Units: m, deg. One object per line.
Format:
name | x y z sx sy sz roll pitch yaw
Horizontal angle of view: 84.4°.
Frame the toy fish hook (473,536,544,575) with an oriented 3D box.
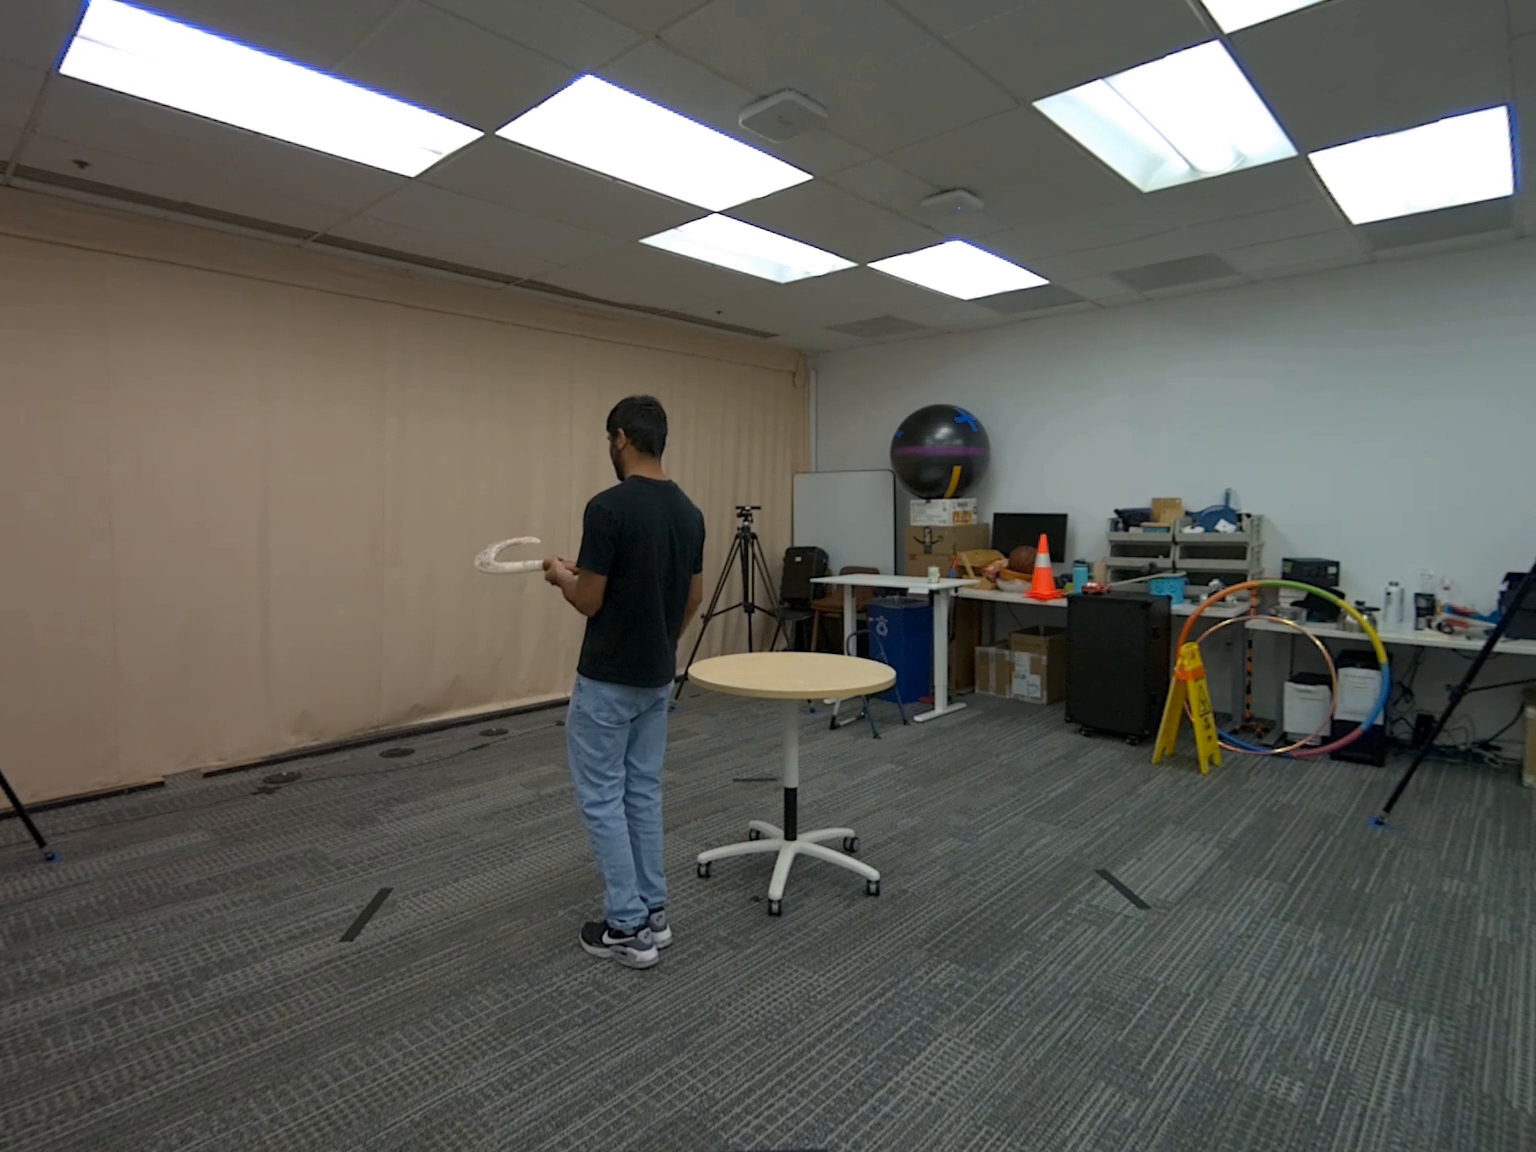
toy fish hook | -0.770 -0.073 2.887 0.520 0.047 0.224 5 42 24
